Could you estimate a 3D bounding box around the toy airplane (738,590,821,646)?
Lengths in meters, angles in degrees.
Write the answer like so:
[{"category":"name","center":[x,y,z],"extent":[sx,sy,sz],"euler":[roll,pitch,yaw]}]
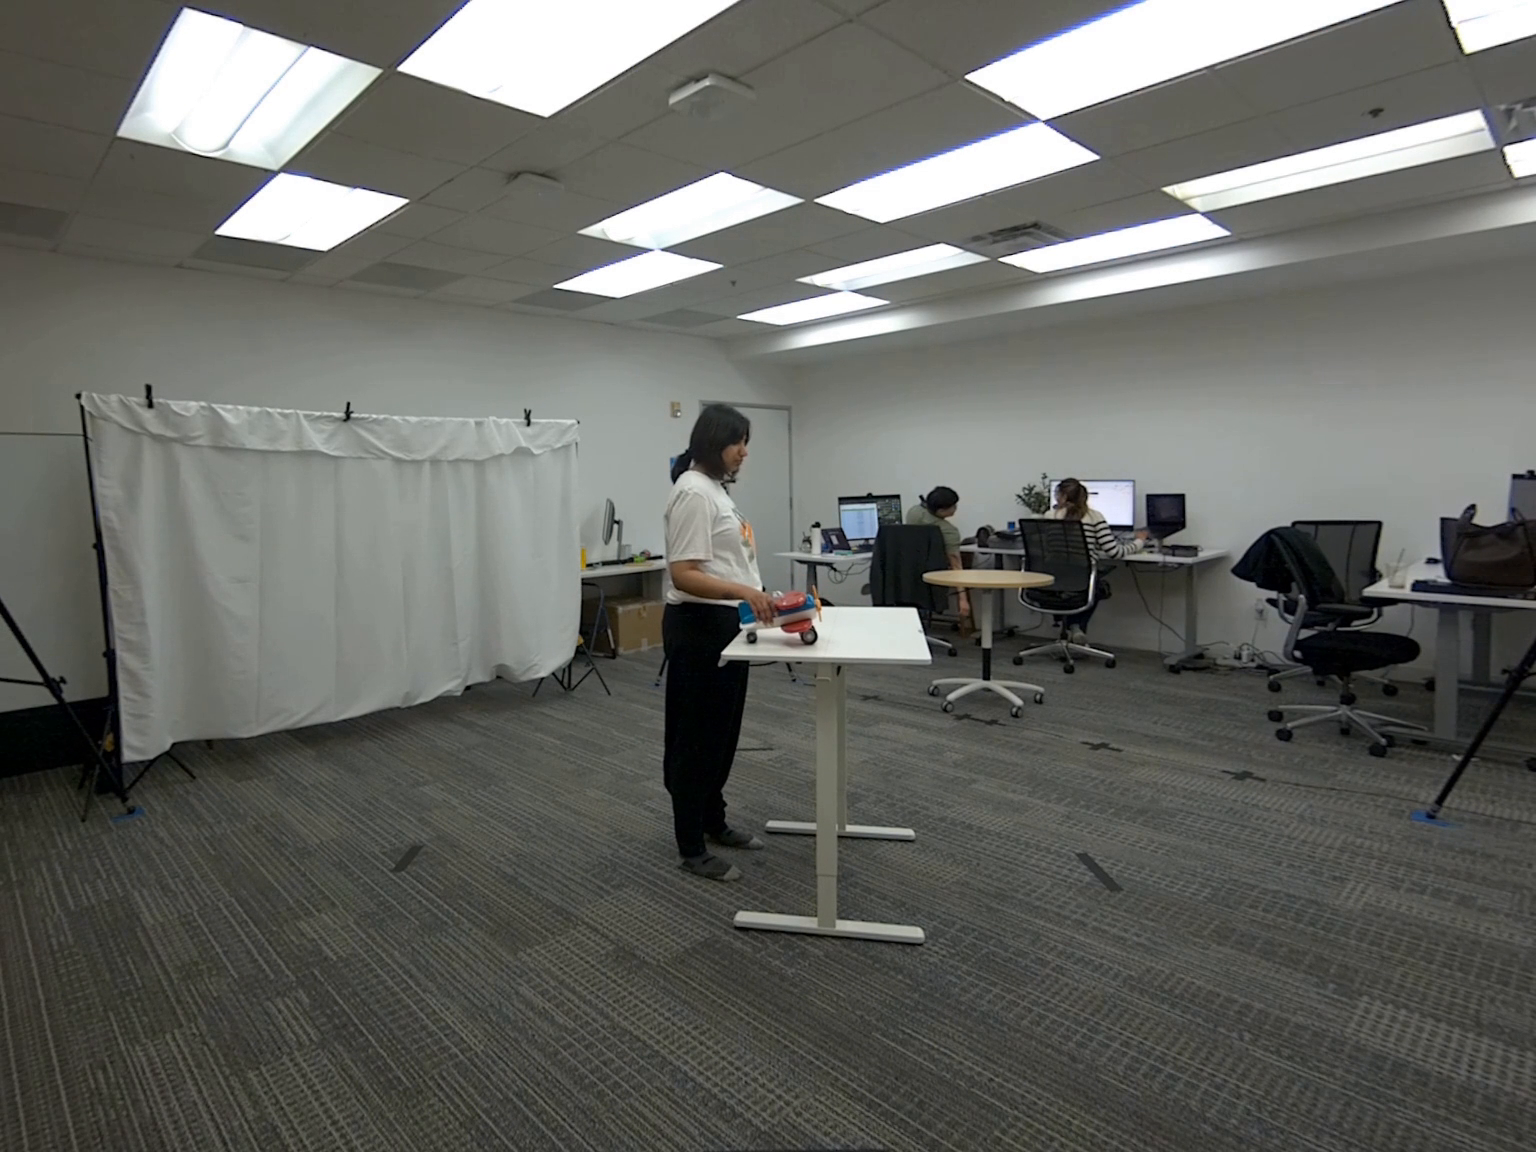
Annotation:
[{"category":"toy airplane","center":[0.051,0.134,2.657],"extent":[0.253,0.156,0.257],"euler":[-2,5,-27]}]
